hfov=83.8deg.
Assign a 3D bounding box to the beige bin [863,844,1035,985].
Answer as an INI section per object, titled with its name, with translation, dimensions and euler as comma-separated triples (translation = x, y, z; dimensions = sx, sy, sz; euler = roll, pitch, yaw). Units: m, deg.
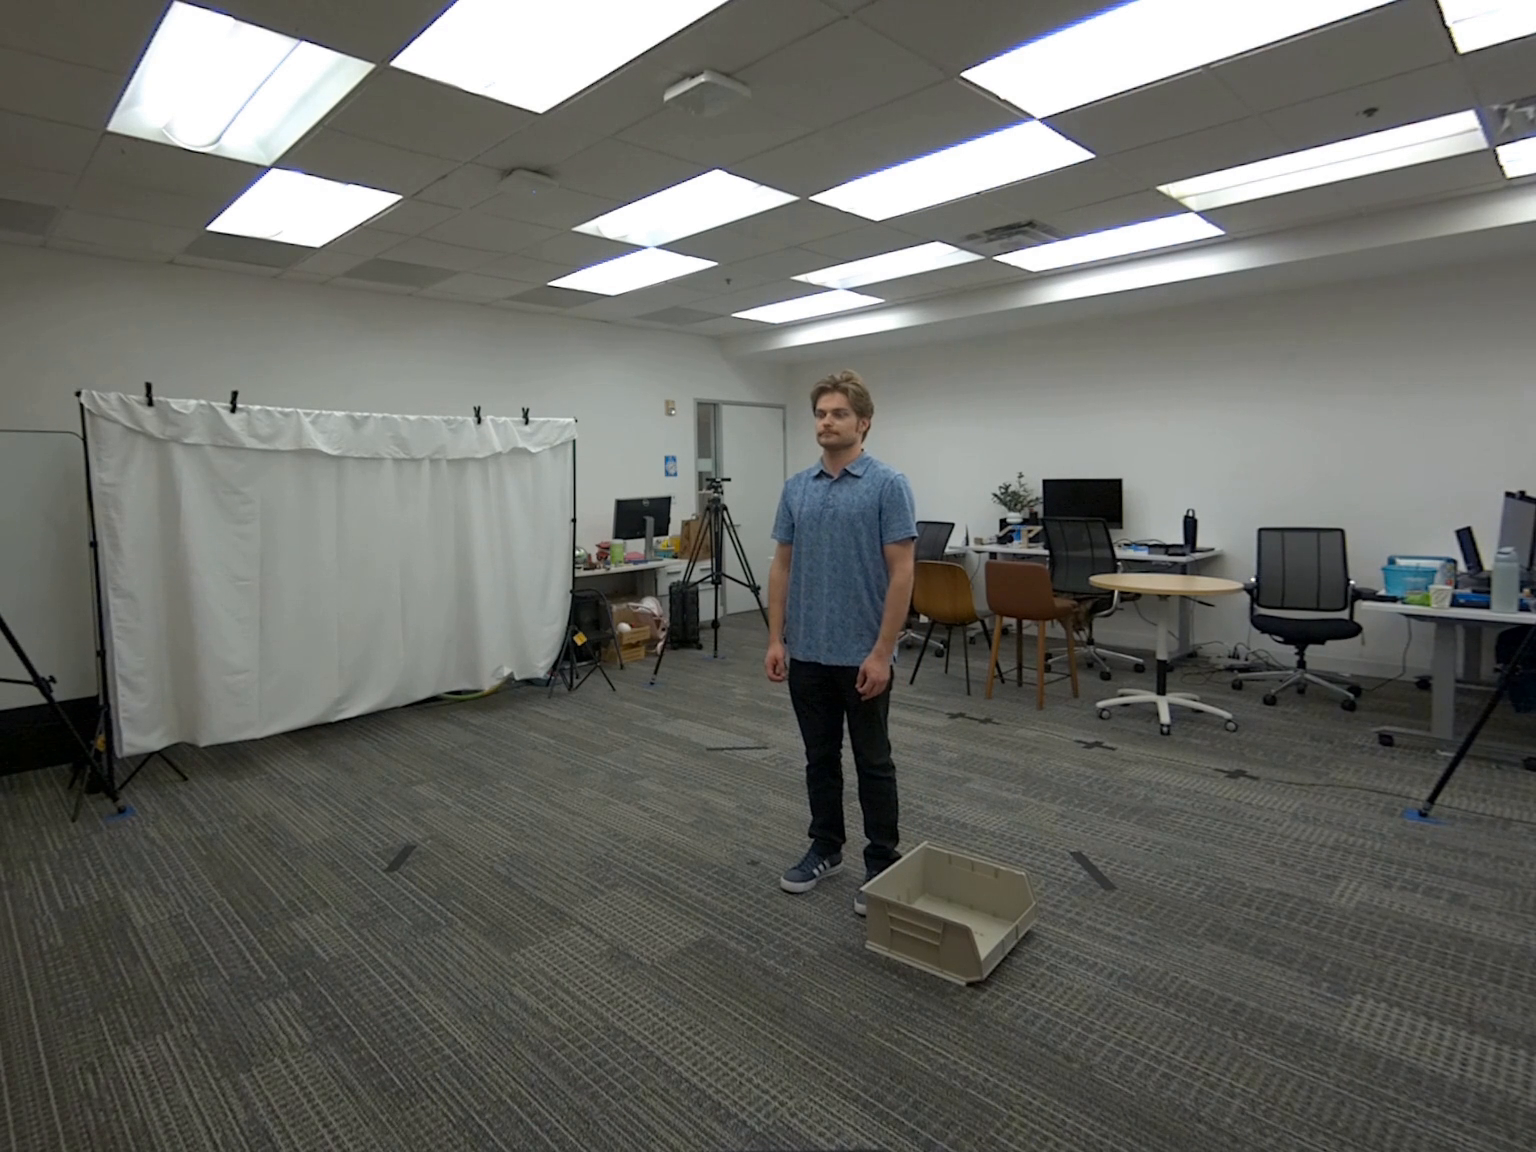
[beige bin]
translation = 0.554, 1.005, 2.563
dimensions = 0.388, 0.188, 0.412
euler = 2, 7, 39
